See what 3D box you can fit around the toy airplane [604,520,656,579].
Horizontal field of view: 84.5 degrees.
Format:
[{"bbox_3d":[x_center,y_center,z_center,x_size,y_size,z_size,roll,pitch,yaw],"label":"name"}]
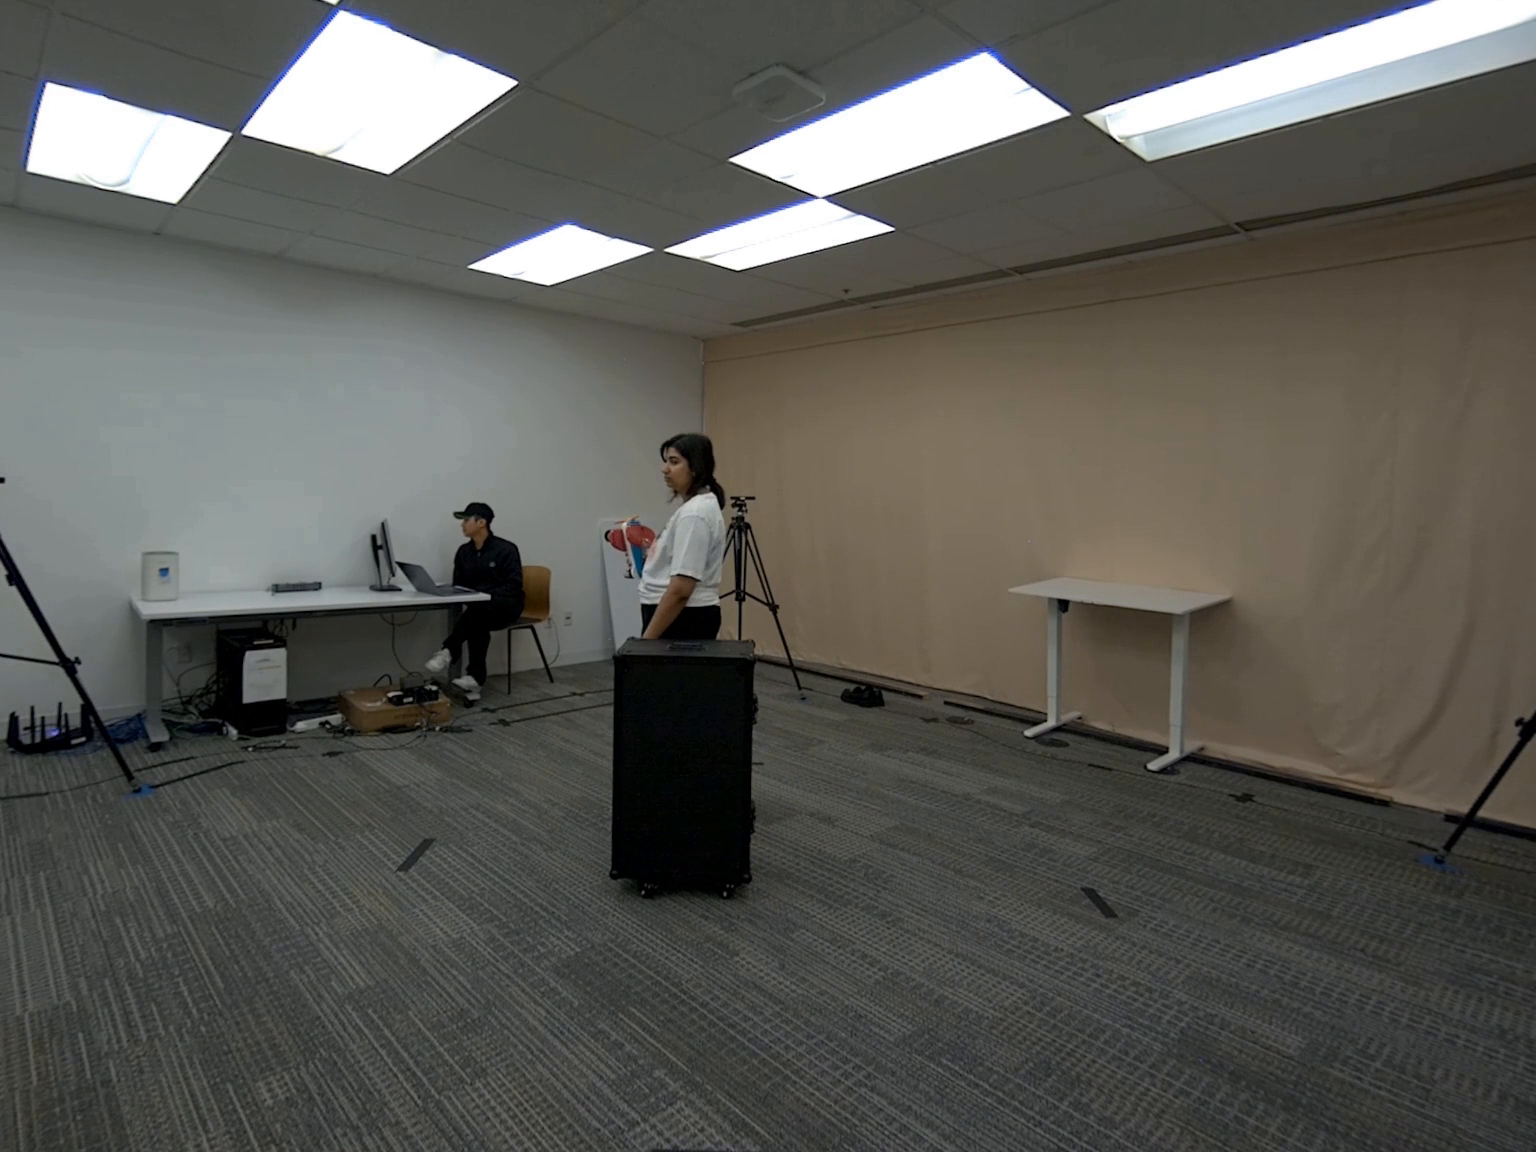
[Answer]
[{"bbox_3d":[-0.574,-0.121,3.586,0.157,0.255,0.254,-30,15,13],"label":"toy airplane"}]
